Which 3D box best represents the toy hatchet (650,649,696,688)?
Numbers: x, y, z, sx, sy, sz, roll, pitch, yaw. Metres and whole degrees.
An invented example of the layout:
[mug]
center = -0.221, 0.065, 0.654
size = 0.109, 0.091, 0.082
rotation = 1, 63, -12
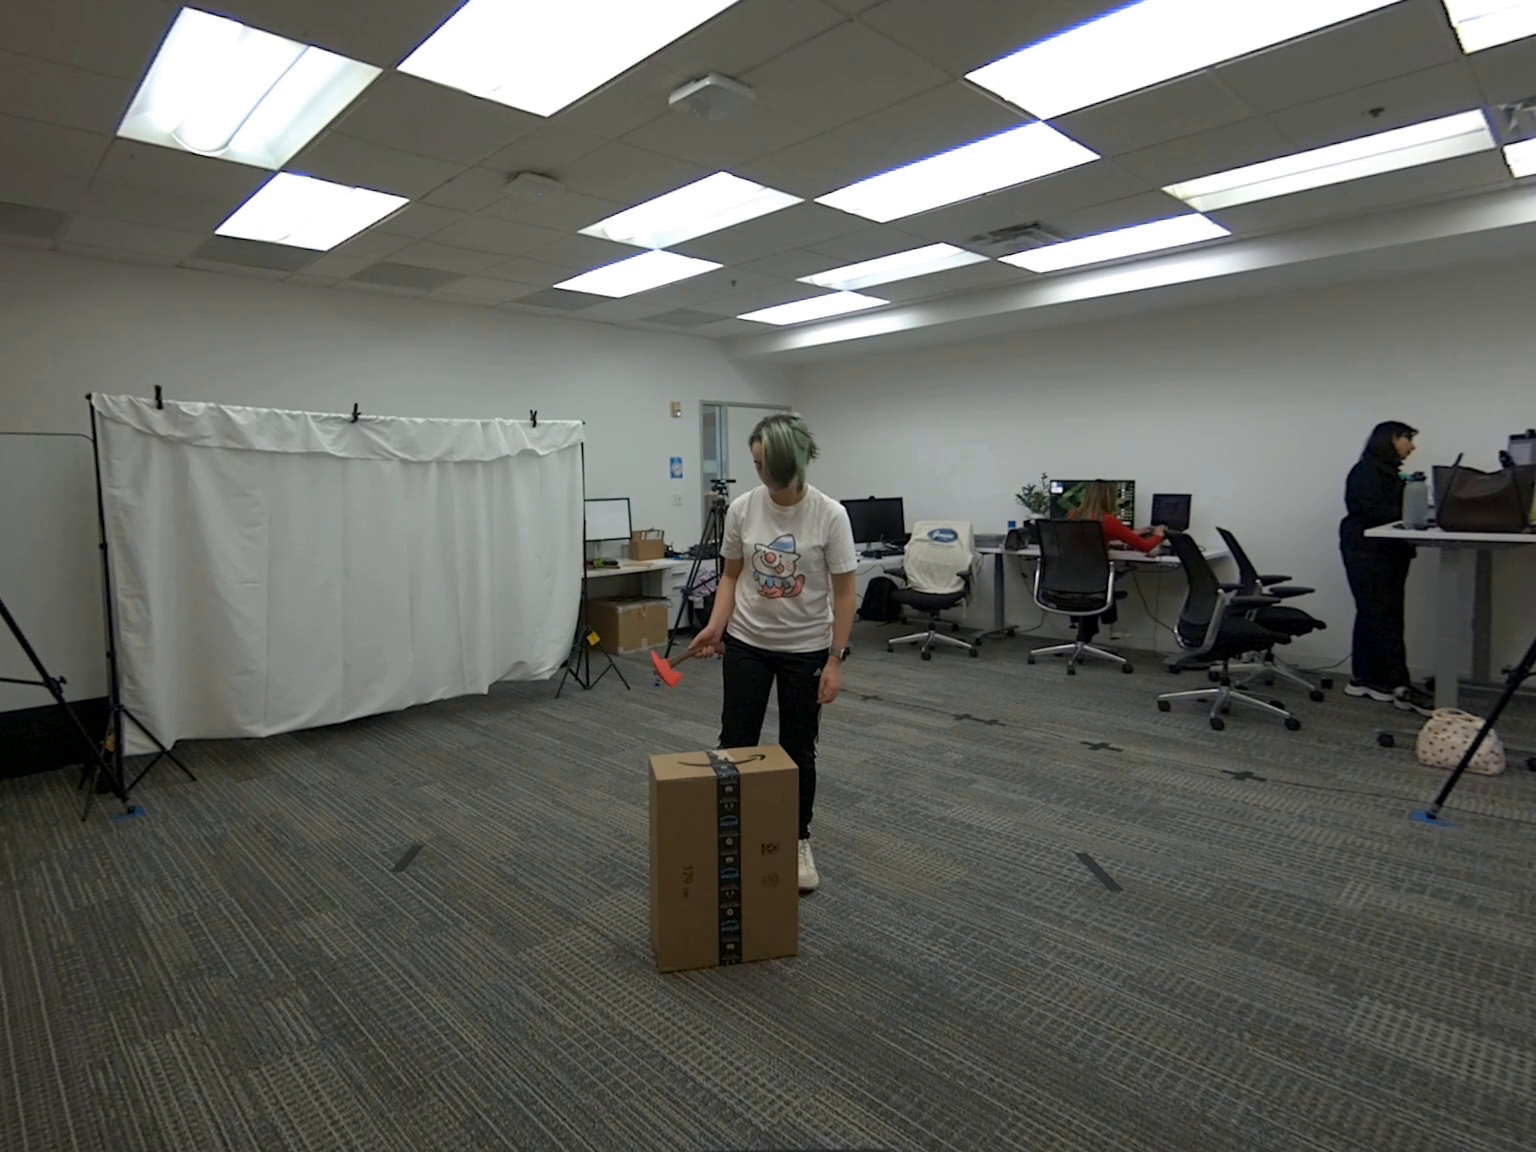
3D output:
[toy hatchet]
center = -0.250, 0.299, 2.830
size = 0.264, 0.134, 0.029
rotation = -3, -28, -24
